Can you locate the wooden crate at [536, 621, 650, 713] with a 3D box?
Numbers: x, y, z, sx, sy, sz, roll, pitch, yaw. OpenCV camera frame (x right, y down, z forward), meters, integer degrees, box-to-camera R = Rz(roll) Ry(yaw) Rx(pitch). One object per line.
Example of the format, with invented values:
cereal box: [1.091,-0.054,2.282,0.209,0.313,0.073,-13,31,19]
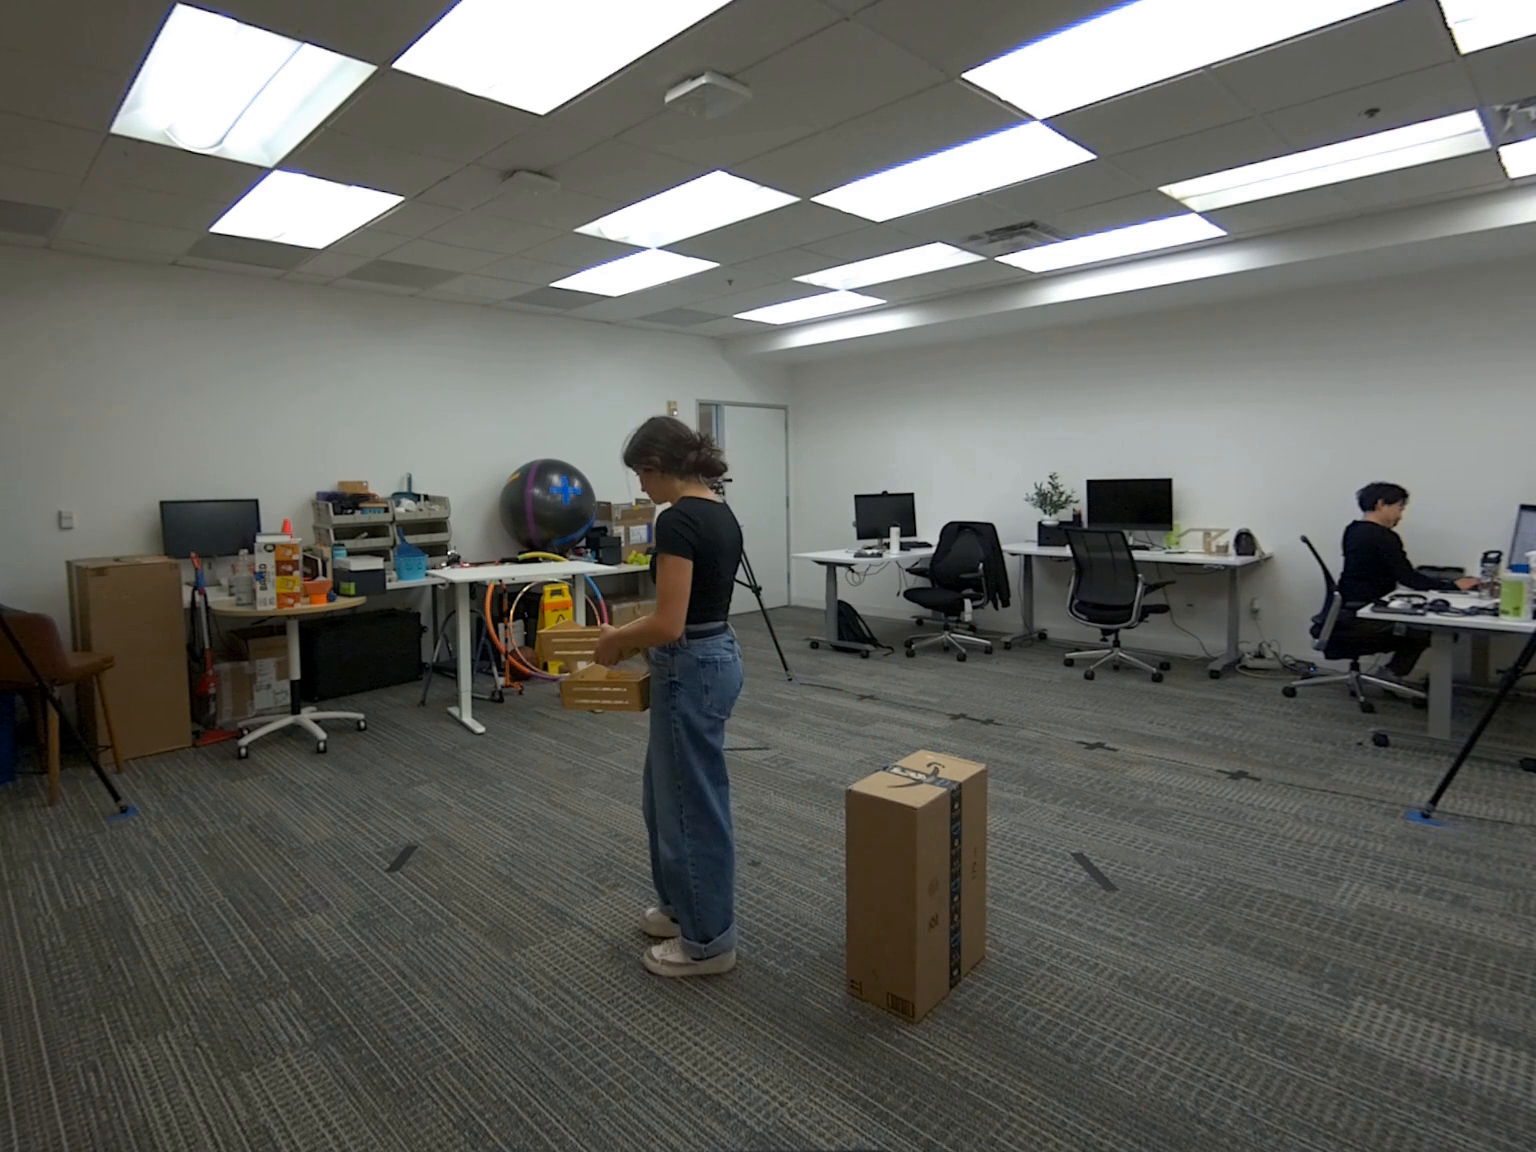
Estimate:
wooden crate: [-0.470,0.251,2.610,0.331,0.271,0.298,-4,9,26]
